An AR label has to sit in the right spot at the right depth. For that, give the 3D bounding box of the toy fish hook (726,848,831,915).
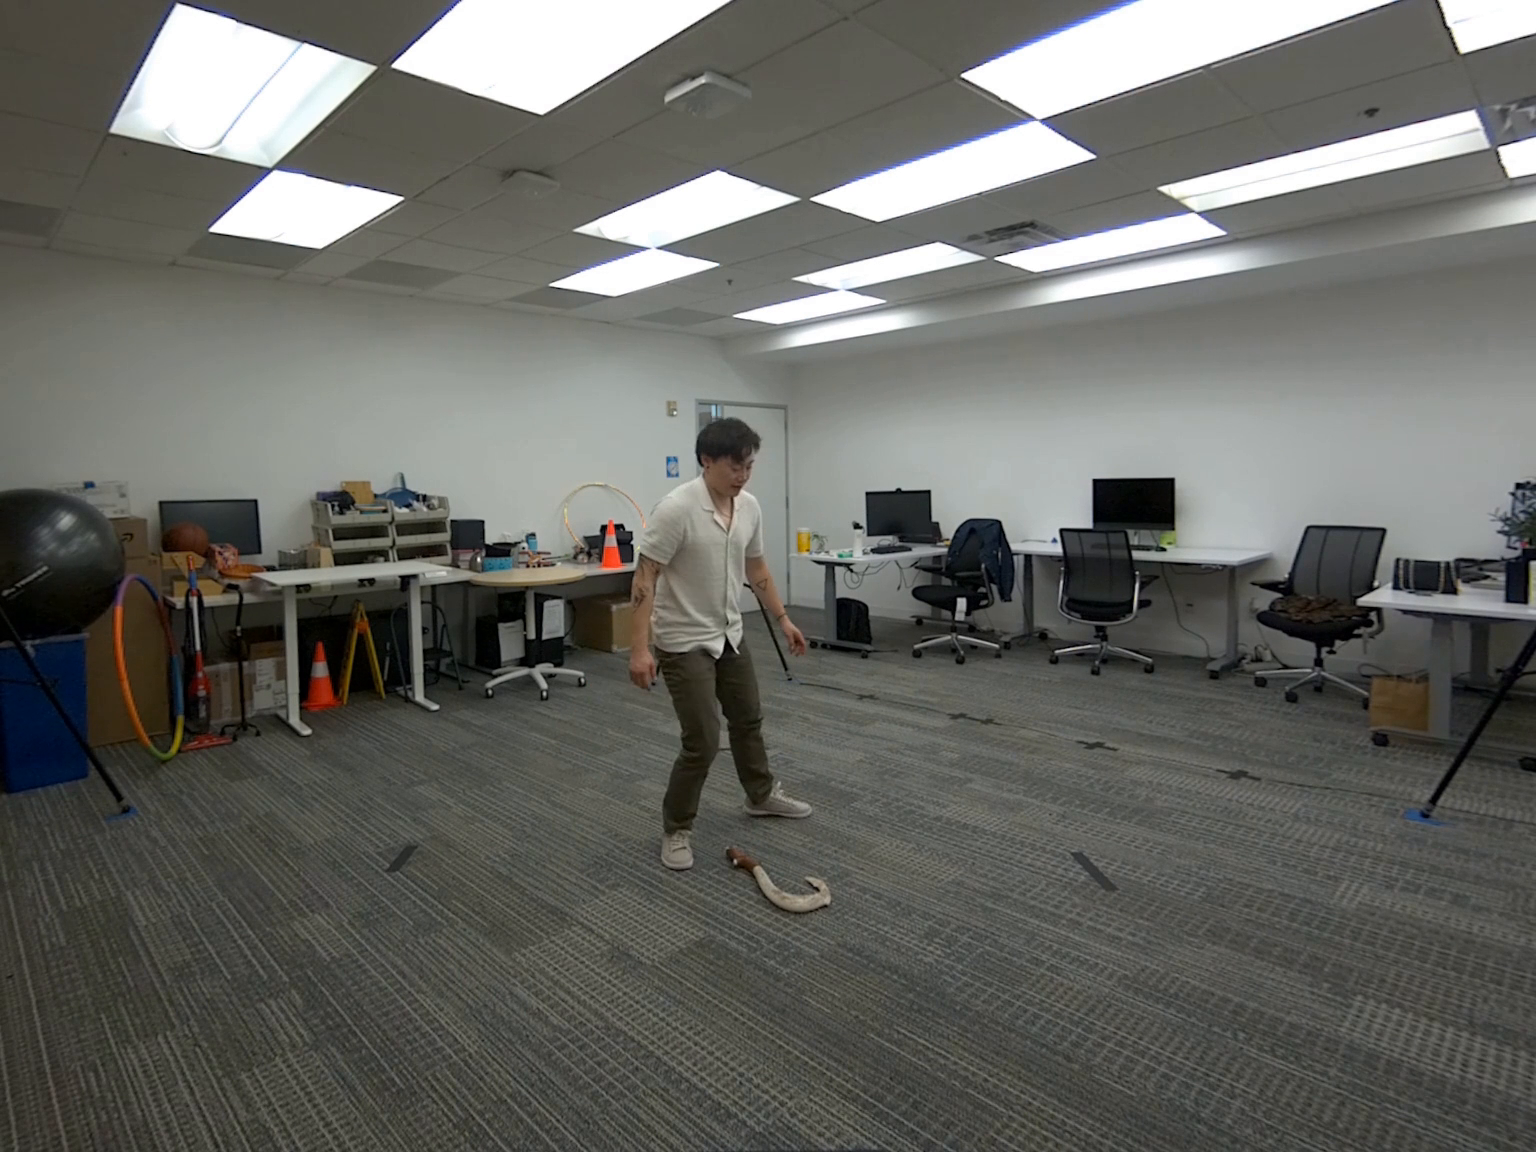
[{"bbox_3d":[0.029,1.046,2.976,0.219,0.048,0.521,4,3,-31],"label":"toy fish hook"}]
